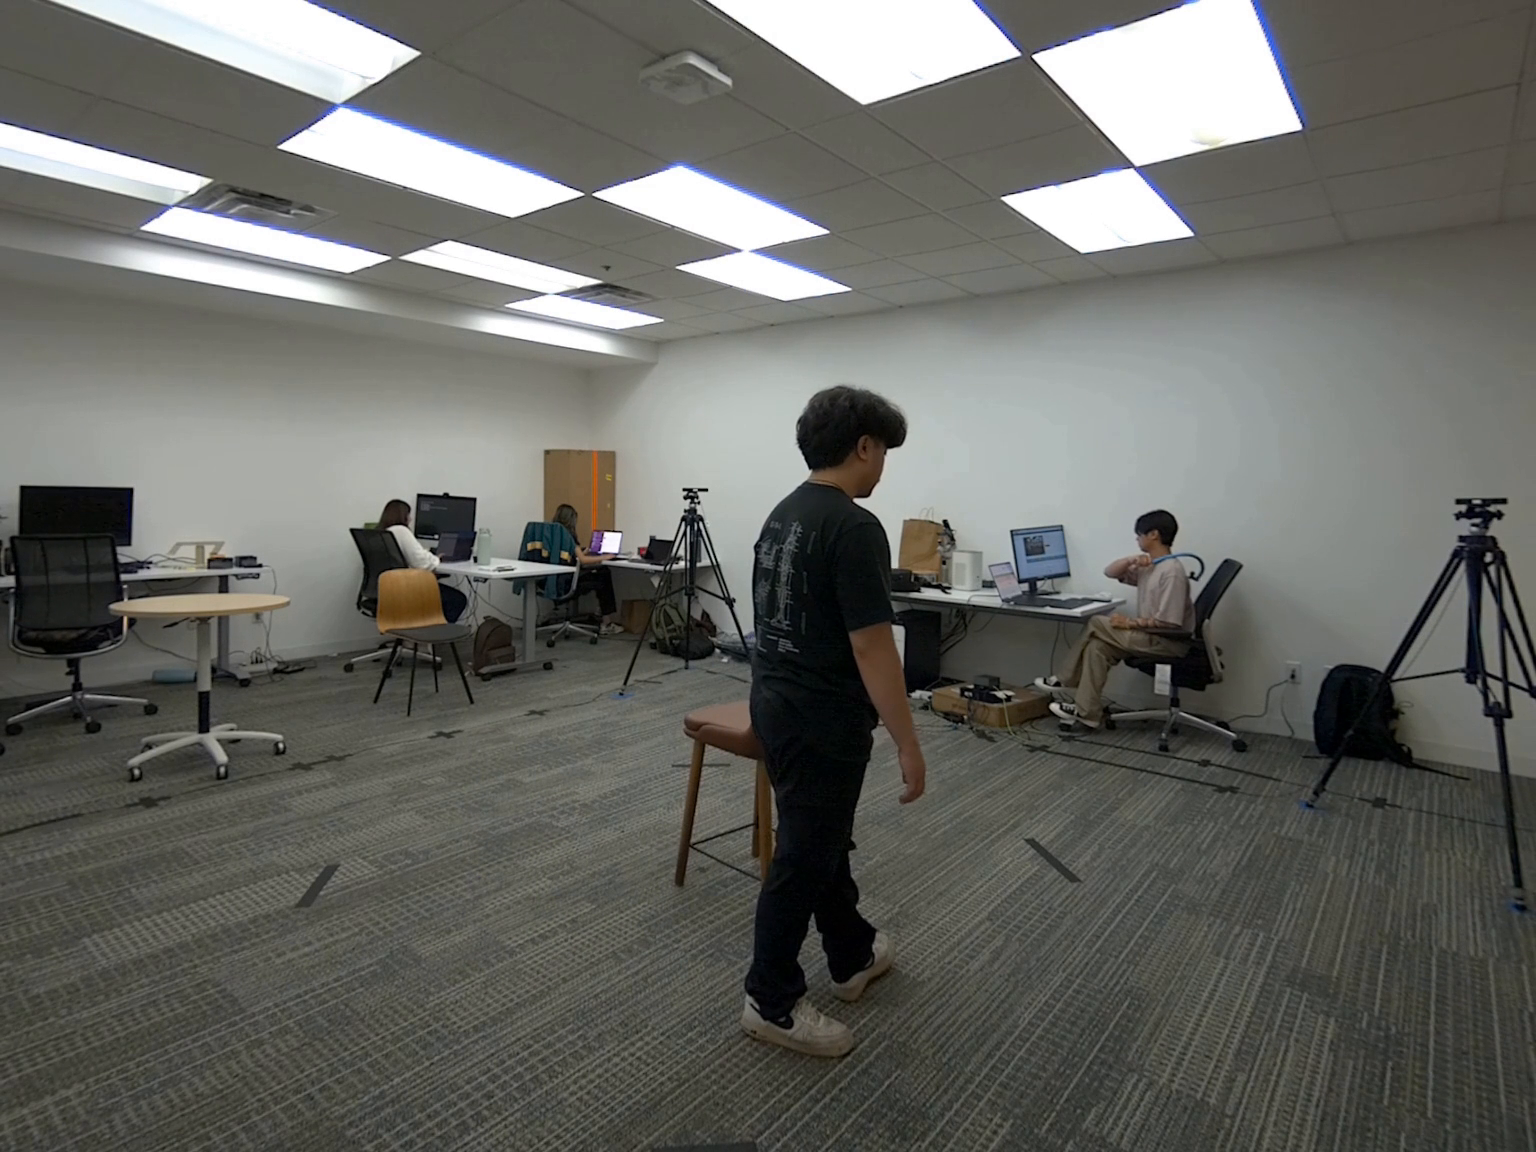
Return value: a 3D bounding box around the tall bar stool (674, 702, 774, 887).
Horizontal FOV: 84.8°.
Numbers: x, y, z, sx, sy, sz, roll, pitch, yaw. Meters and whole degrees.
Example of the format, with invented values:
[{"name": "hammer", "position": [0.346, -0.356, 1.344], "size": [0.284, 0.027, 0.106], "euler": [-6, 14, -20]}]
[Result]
[{"name": "tall bar stool", "position": [-0.020, 0.655, 2.922], "size": [0.442, 0.886, 0.484], "euler": [-1, 6, -44]}]
